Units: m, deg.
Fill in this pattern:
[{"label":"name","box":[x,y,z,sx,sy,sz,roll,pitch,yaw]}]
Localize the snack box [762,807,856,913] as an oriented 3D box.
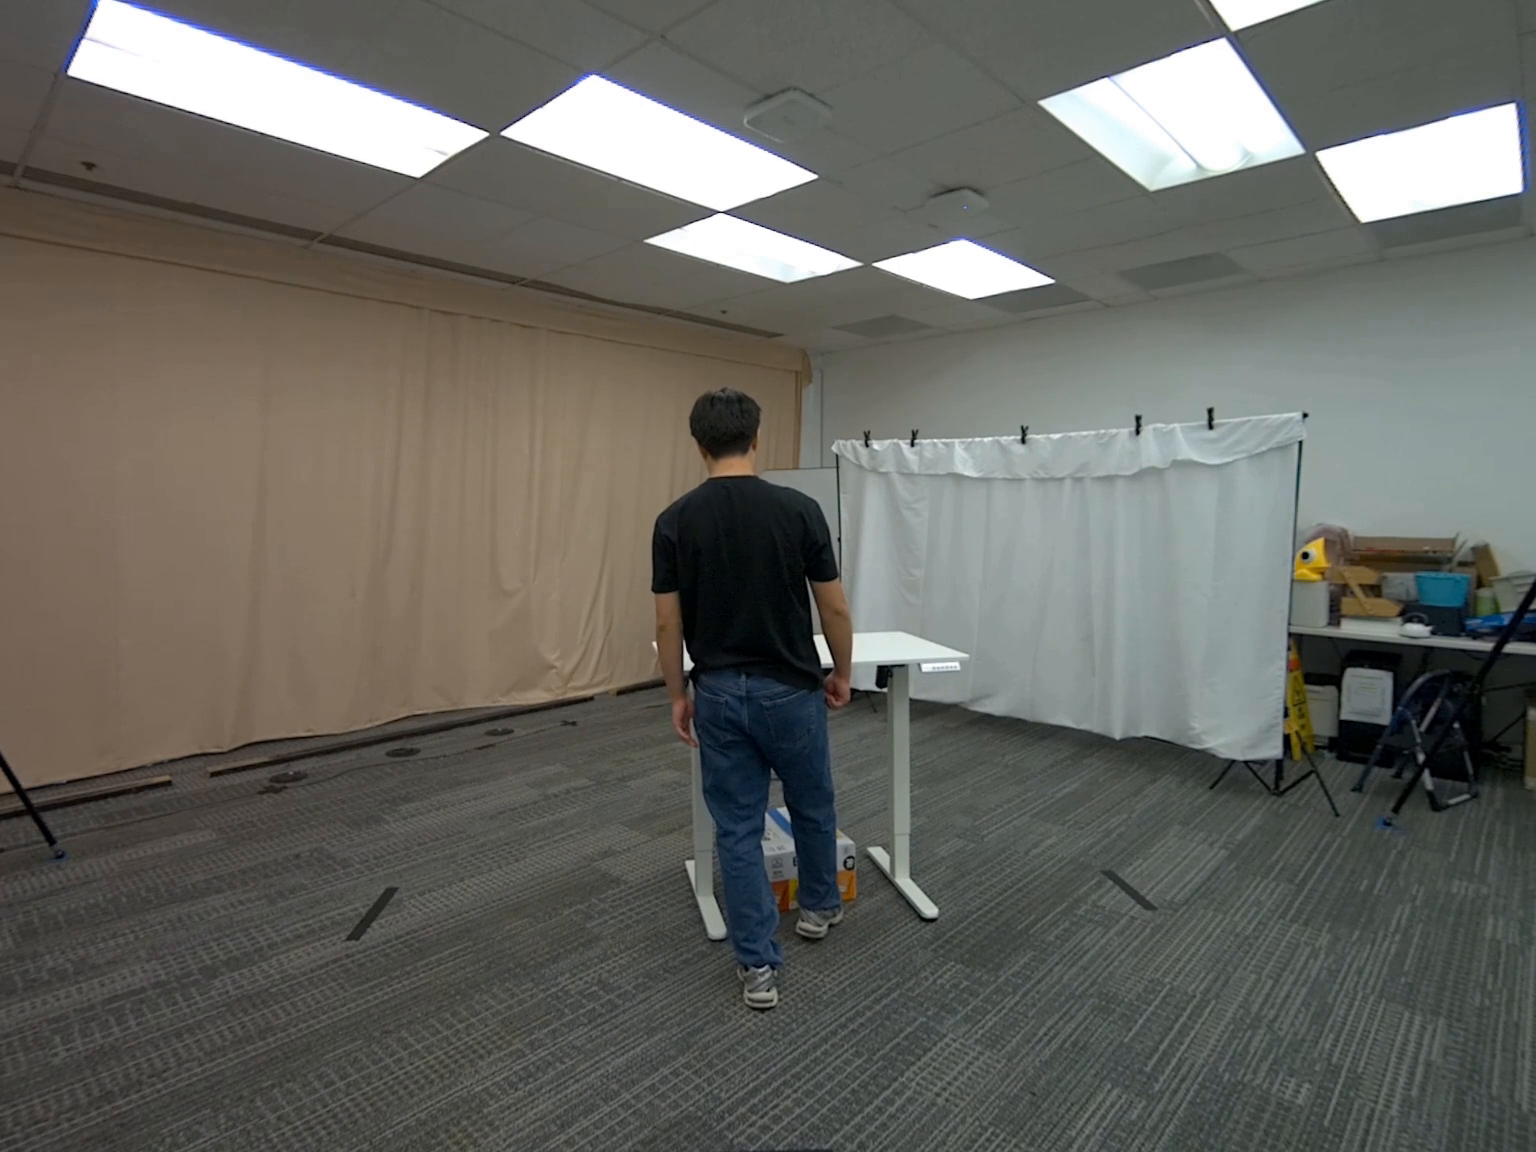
[{"label":"snack box","box":[0.078,1.032,3.109,0.334,0.205,0.414,-2,5,-20]}]
